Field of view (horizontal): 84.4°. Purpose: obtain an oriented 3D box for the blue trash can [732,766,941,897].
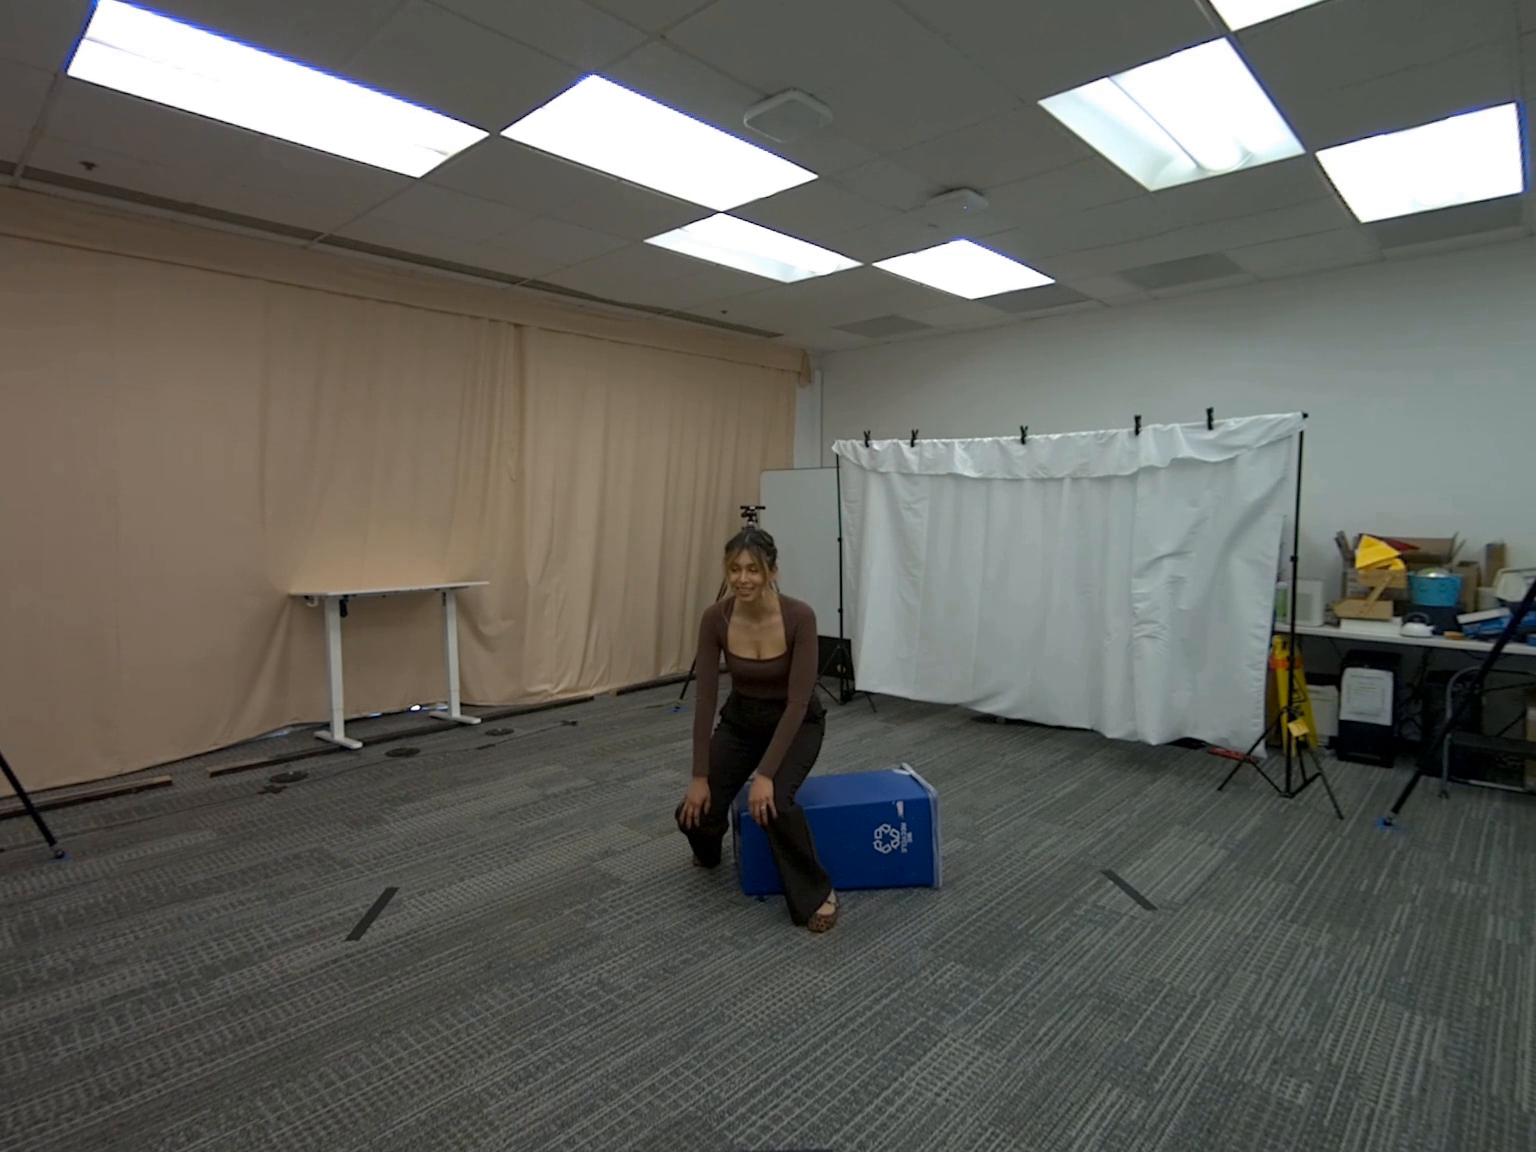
[{"bbox_3d":[0.246,0.957,3.164,0.708,0.377,0.378,-4,4,-7],"label":"blue trash can"}]
